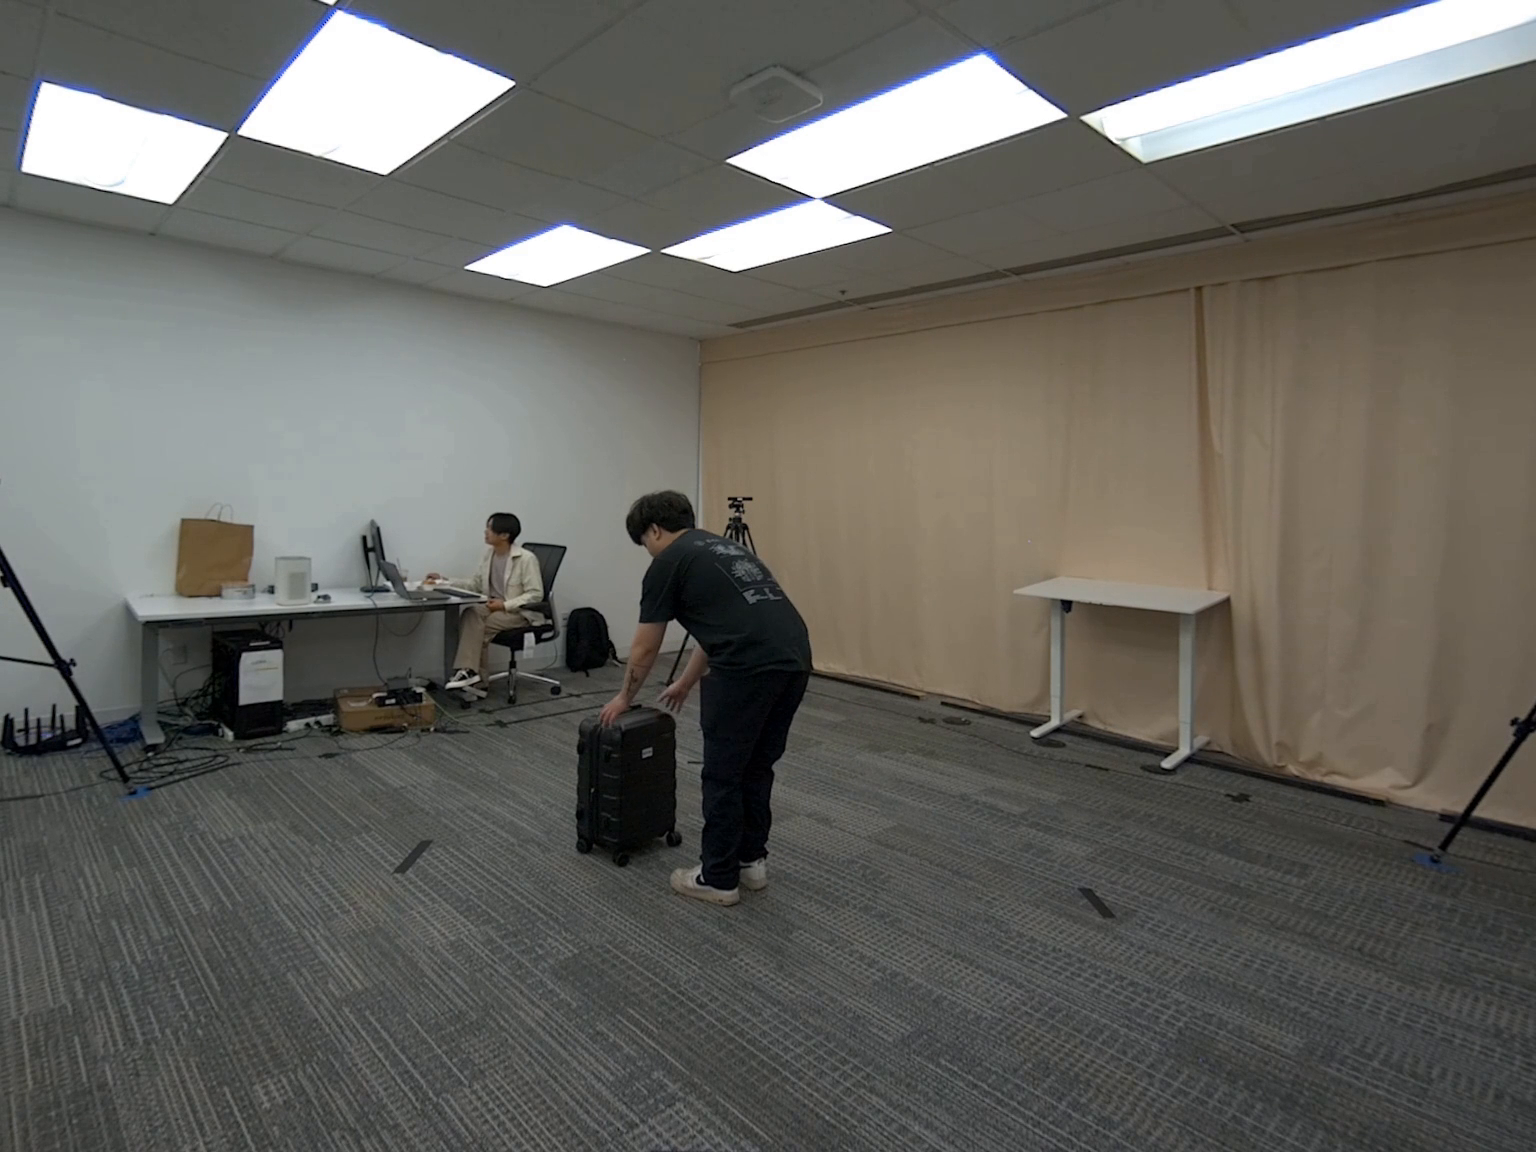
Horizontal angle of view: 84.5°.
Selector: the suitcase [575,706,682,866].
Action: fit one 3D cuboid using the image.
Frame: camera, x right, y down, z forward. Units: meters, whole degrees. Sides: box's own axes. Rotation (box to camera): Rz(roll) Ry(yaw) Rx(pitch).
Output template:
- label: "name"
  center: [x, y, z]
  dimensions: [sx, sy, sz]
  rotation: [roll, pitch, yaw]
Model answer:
- label: "suitcase"
  center: [-0.564, 0.804, 3.333]
  dimensions: [0.254, 0.548, 0.367]
  rotation: [3, 4, 38]
